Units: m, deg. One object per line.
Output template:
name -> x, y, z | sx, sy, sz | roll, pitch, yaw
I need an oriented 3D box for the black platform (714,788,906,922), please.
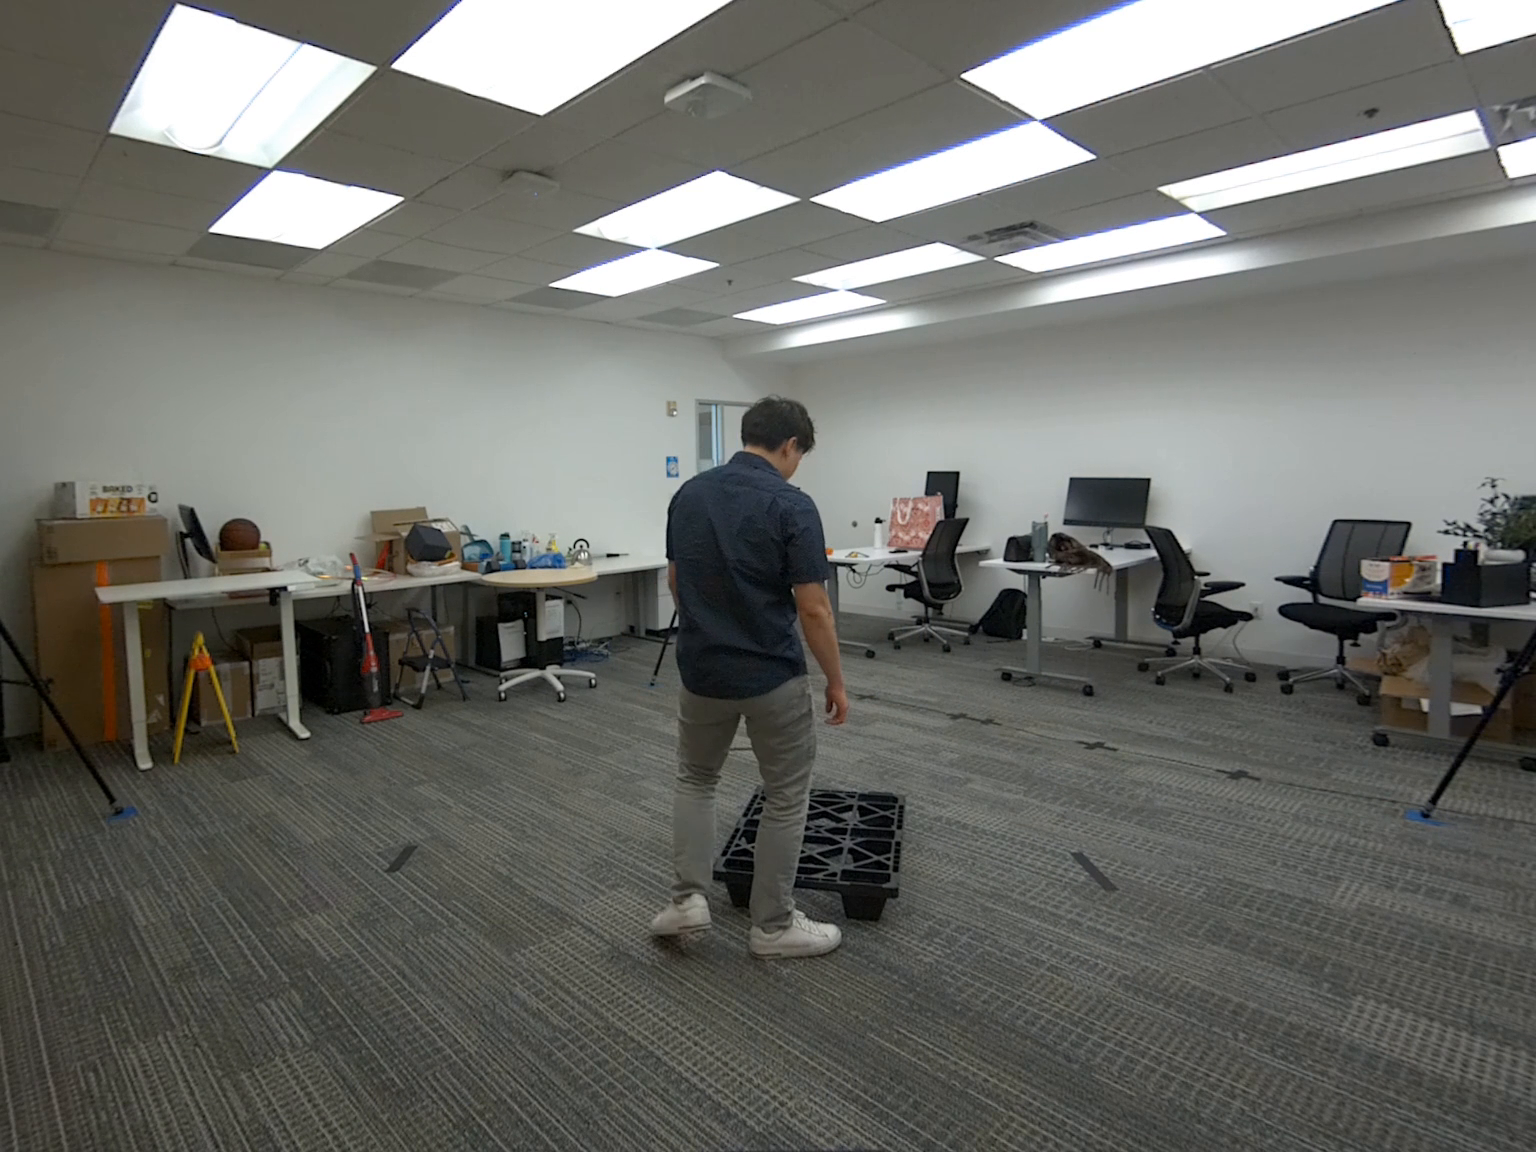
black platform -> 0.182, 0.975, 3.085 | 0.613, 0.143, 0.799 | 0, 6, 12
